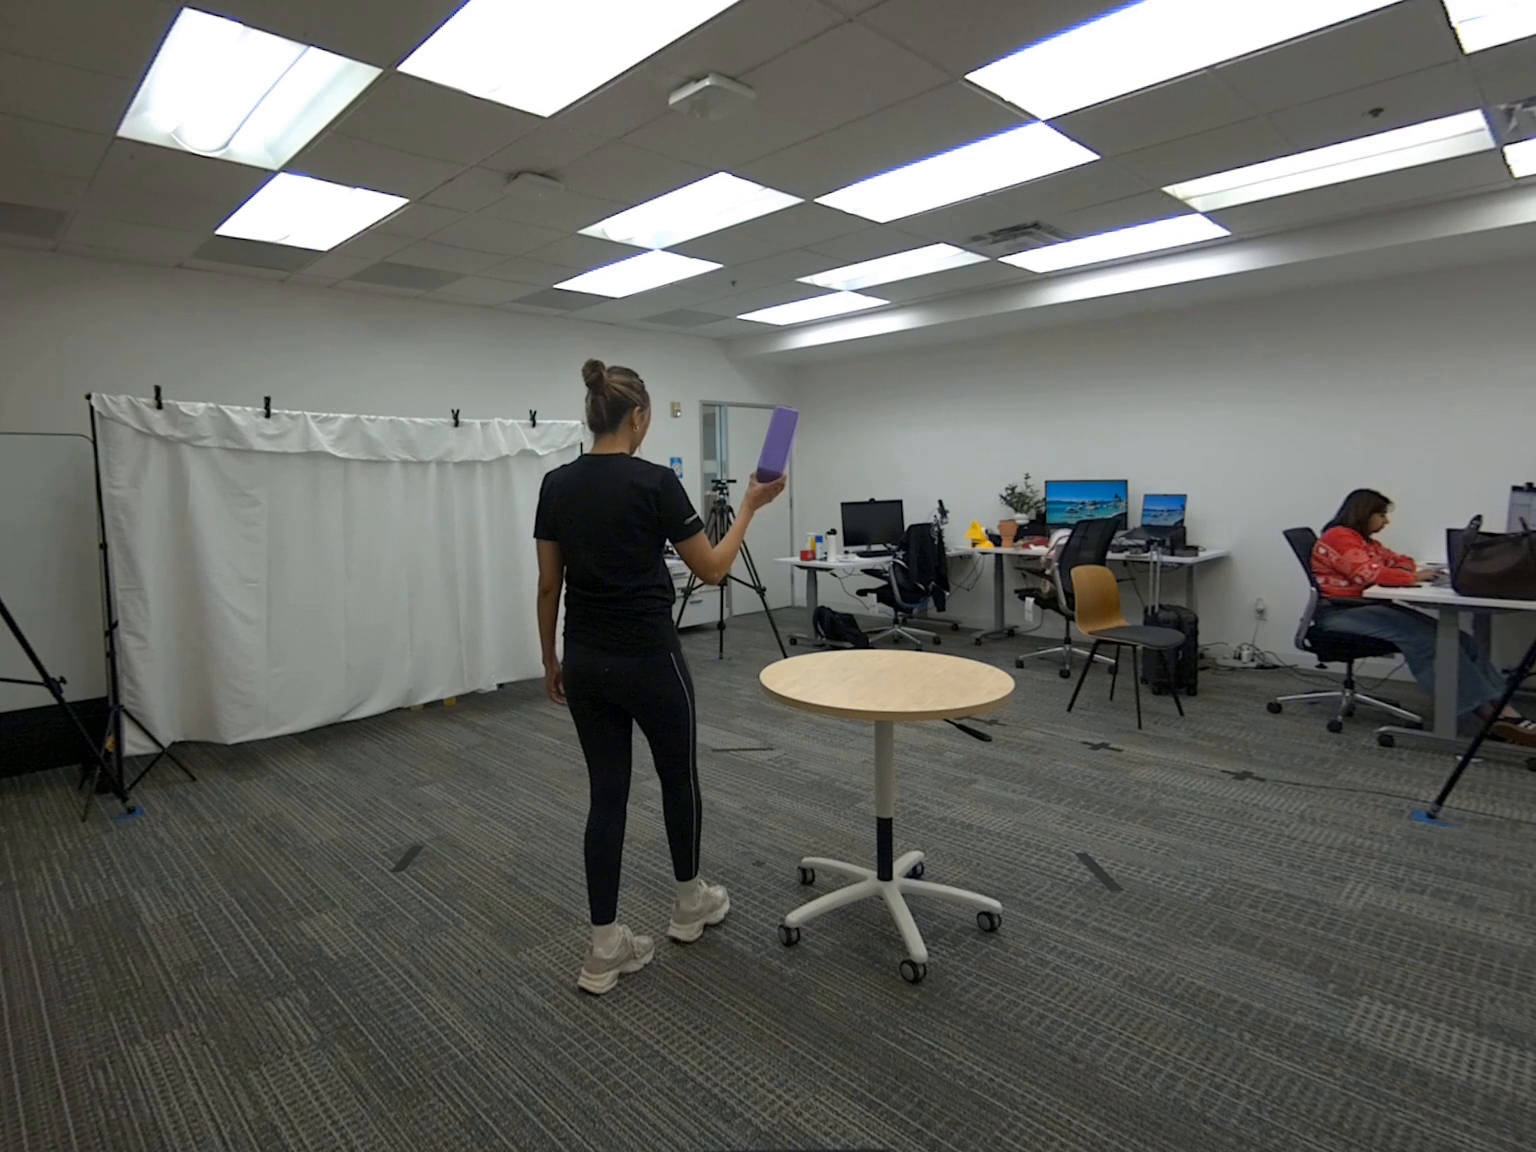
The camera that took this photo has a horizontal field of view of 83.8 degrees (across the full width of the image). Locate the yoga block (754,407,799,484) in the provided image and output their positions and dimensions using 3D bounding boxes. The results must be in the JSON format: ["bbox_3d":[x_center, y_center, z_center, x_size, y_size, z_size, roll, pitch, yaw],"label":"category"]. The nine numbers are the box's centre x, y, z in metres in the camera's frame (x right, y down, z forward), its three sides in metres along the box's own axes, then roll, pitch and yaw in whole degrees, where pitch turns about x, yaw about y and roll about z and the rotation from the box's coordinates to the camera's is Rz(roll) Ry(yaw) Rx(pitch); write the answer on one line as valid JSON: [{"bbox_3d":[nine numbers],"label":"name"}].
[{"bbox_3d":[0.031,-0.384,2.598,0.076,0.232,0.147,14,-21,1],"label":"yoga block"}]
